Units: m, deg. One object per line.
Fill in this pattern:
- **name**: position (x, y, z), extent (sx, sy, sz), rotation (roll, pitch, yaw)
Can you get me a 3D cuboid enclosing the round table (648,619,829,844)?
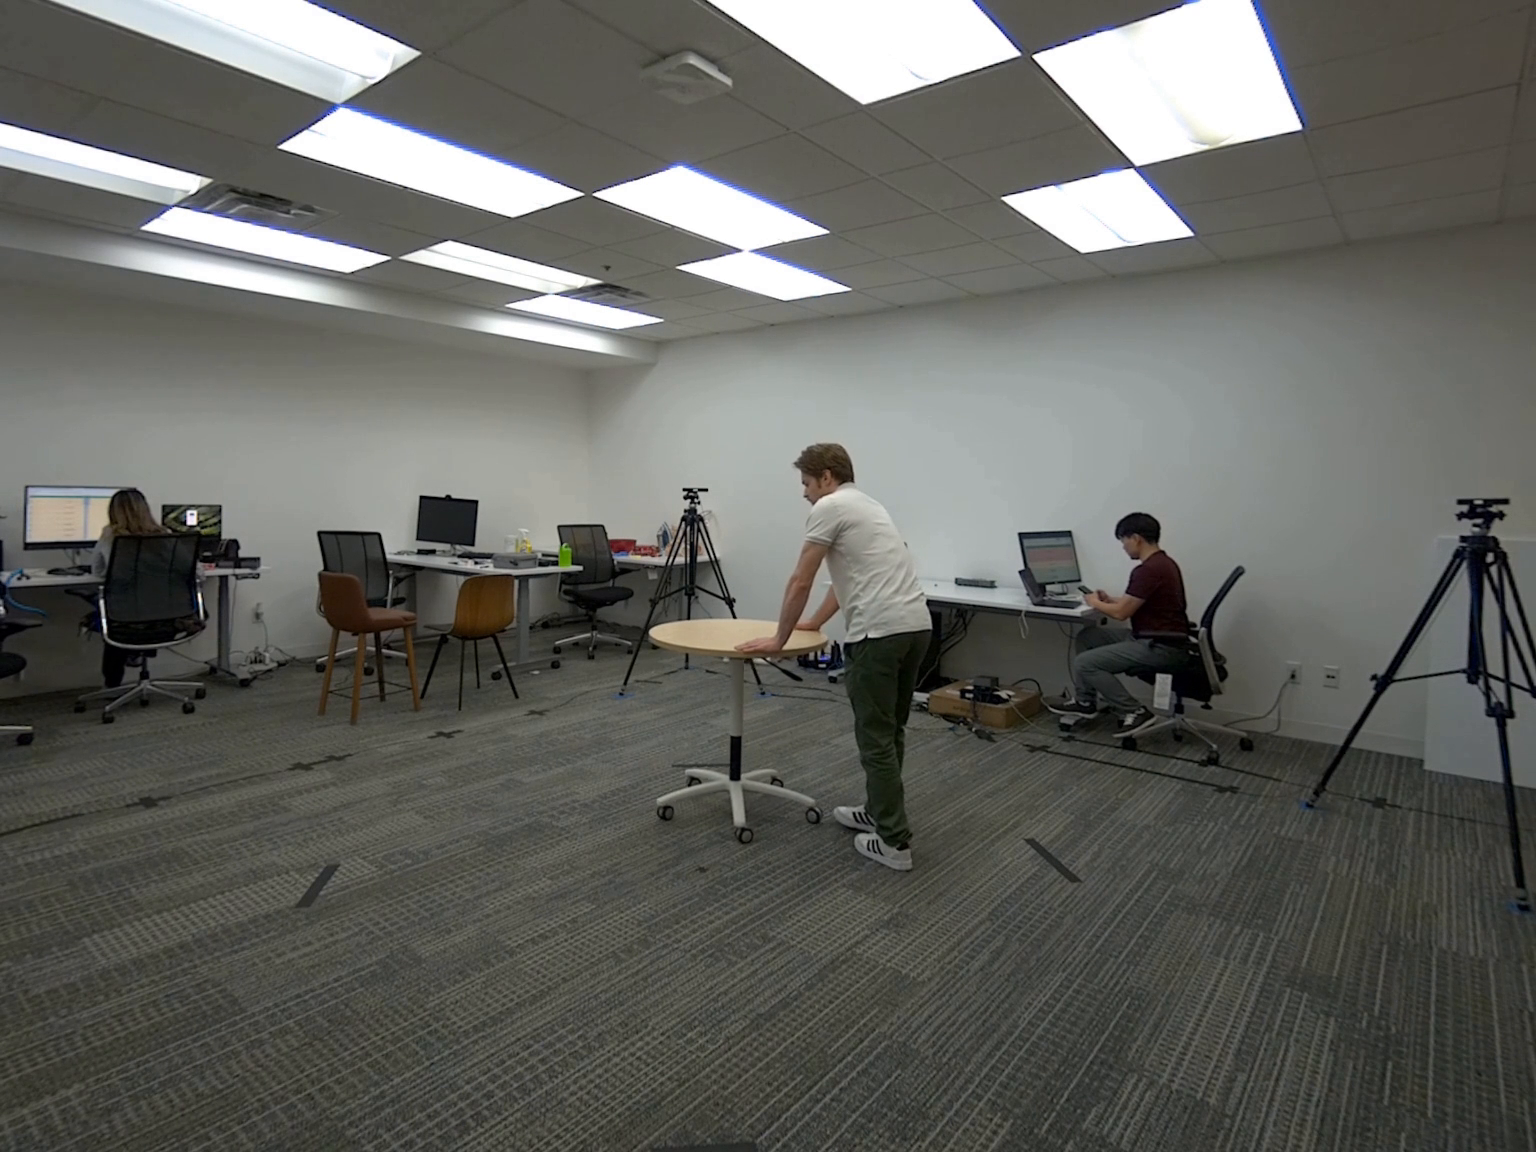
- **round table**: position (-0.148, 0.633, 3.669), extent (0.763, 0.791, 0.768), rotation (1, 4, -2)
